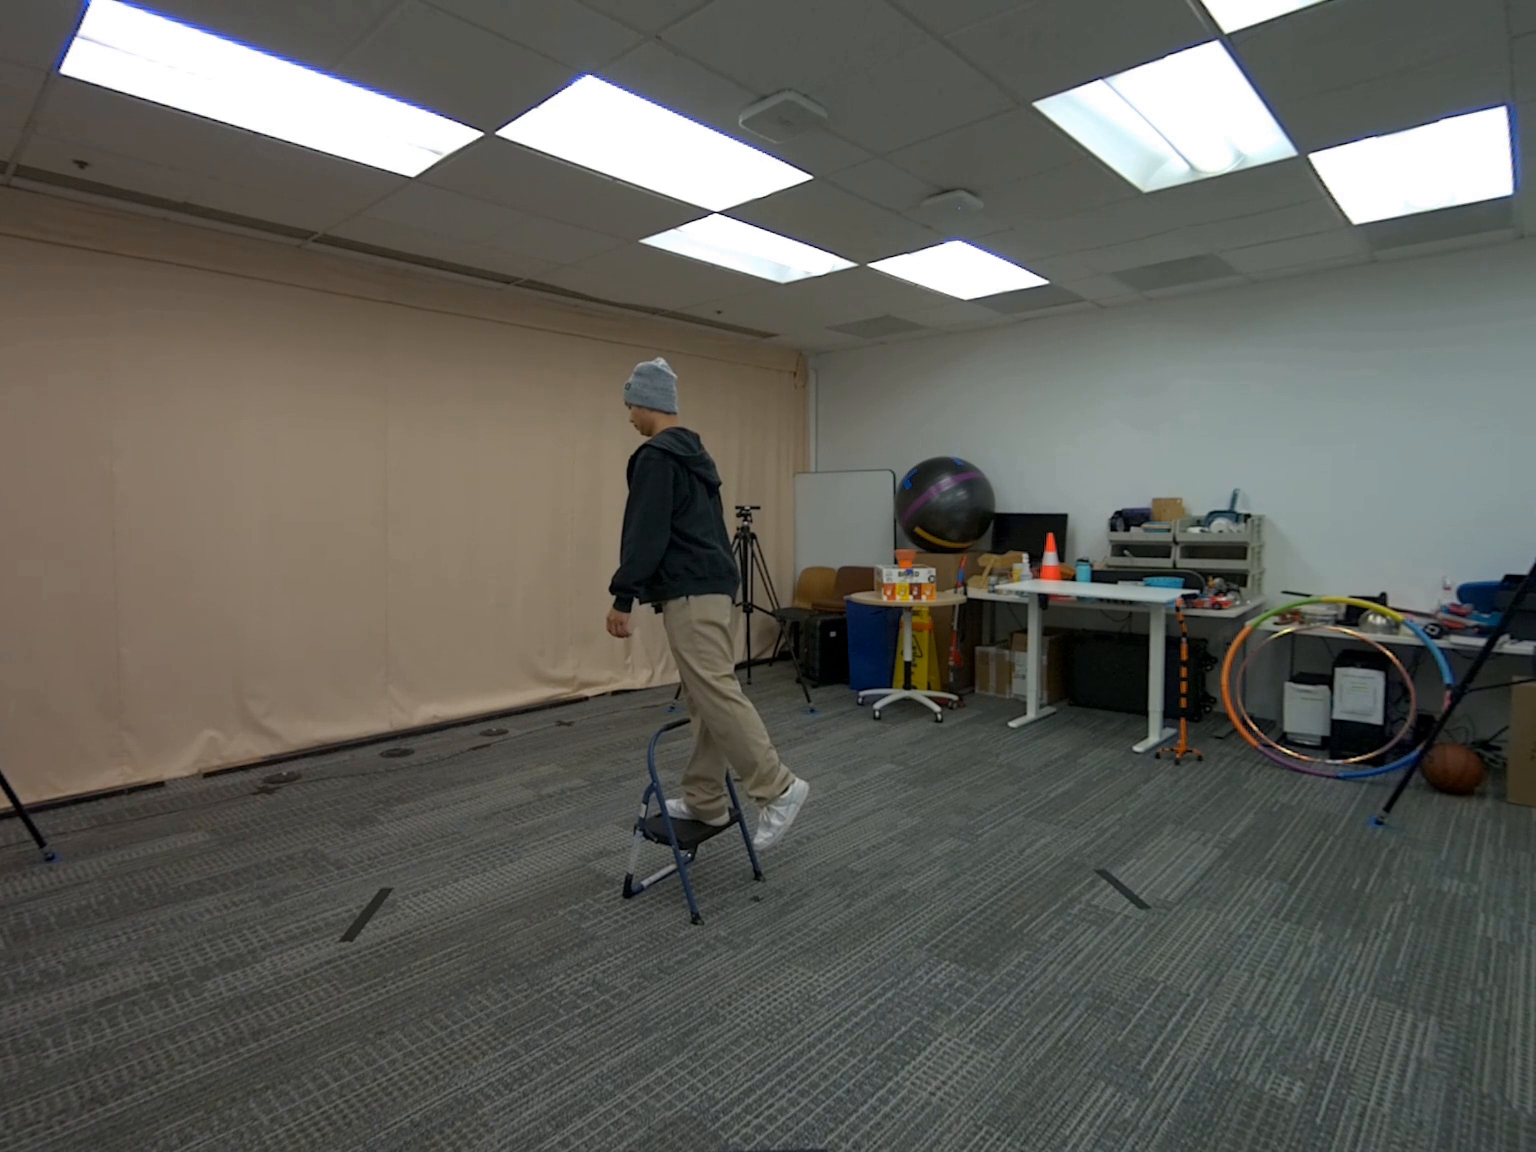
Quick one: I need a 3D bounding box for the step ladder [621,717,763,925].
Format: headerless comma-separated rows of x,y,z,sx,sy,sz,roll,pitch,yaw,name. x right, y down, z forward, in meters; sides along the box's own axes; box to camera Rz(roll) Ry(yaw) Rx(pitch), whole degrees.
-0.269,0.838,3.053,0.360,0.605,0.419,1,4,32,step ladder
